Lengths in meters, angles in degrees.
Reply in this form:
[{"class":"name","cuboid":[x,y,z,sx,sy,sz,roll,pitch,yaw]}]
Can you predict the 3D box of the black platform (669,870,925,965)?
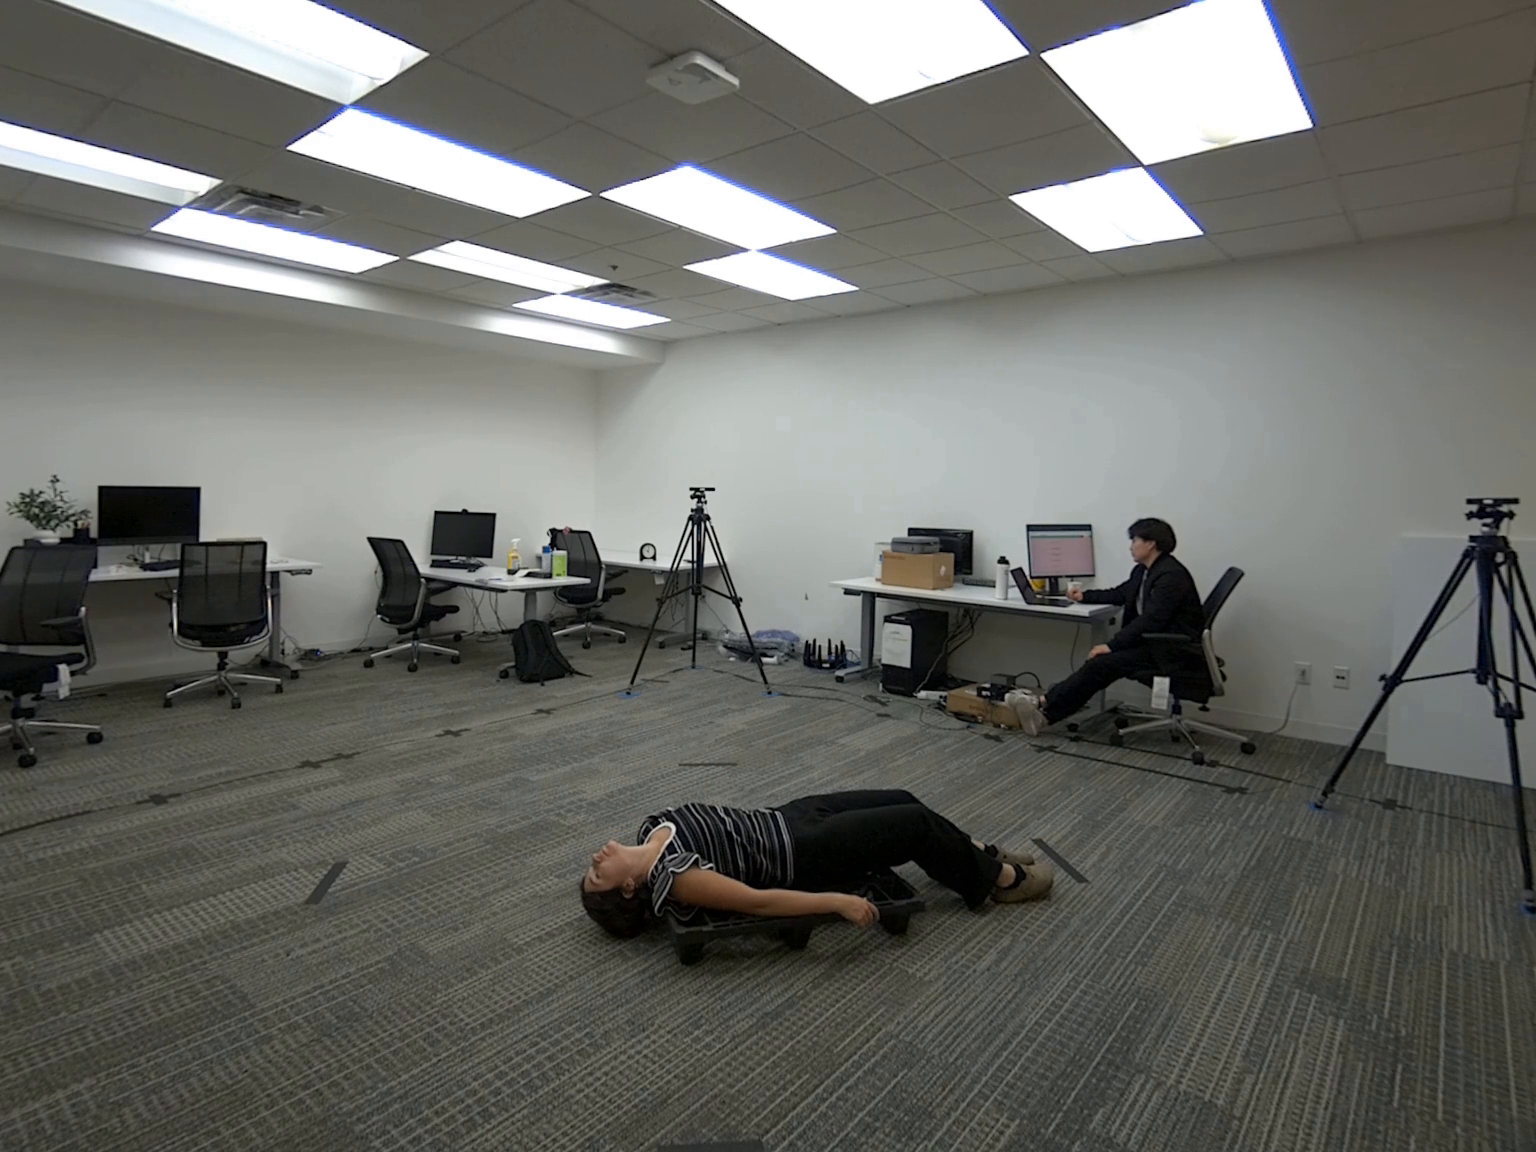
[{"class":"black platform","cuboid":[0.018,1.037,2.789,0.791,0.143,0.618,0,4,-18]}]
